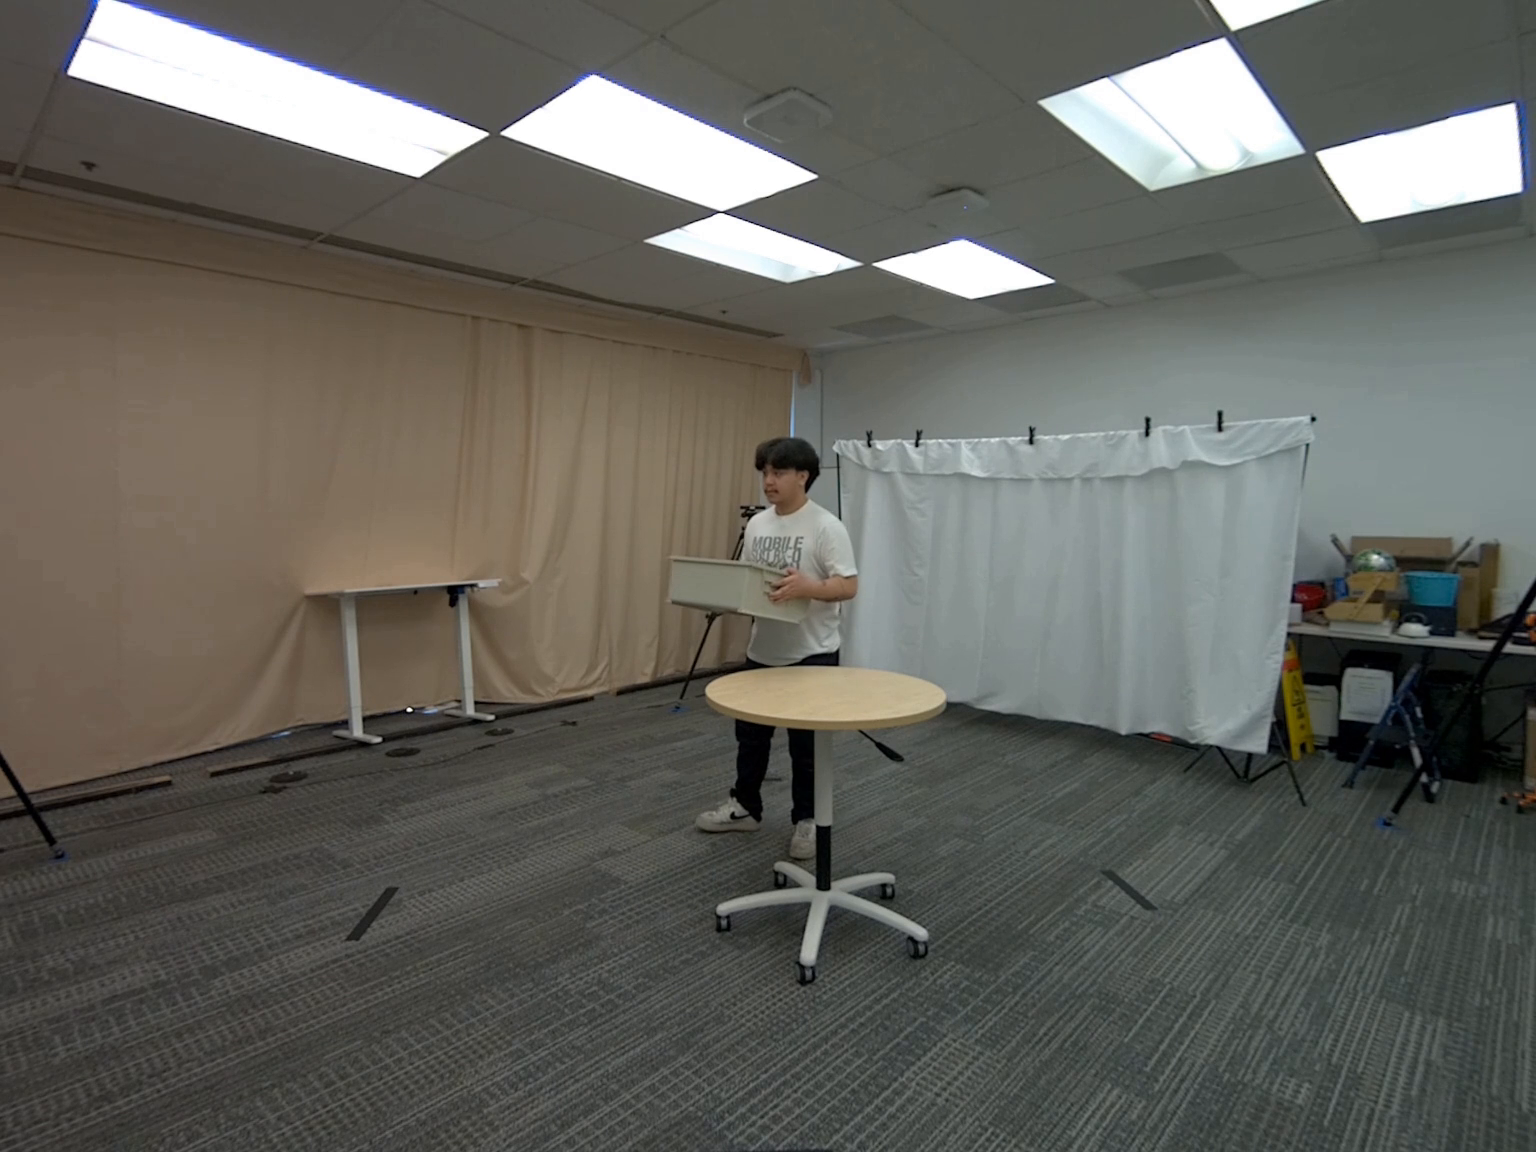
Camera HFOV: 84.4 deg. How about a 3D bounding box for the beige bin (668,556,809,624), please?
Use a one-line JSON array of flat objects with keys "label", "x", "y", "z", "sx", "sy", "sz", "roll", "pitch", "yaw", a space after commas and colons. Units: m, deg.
[{"label": "beige bin", "x": -0.121, "y": 0.057, "z": 3.199, "sx": 0.437, "sy": 0.189, "sz": 0.364, "roll": 6, "pitch": -4, "yaw": 43}]
